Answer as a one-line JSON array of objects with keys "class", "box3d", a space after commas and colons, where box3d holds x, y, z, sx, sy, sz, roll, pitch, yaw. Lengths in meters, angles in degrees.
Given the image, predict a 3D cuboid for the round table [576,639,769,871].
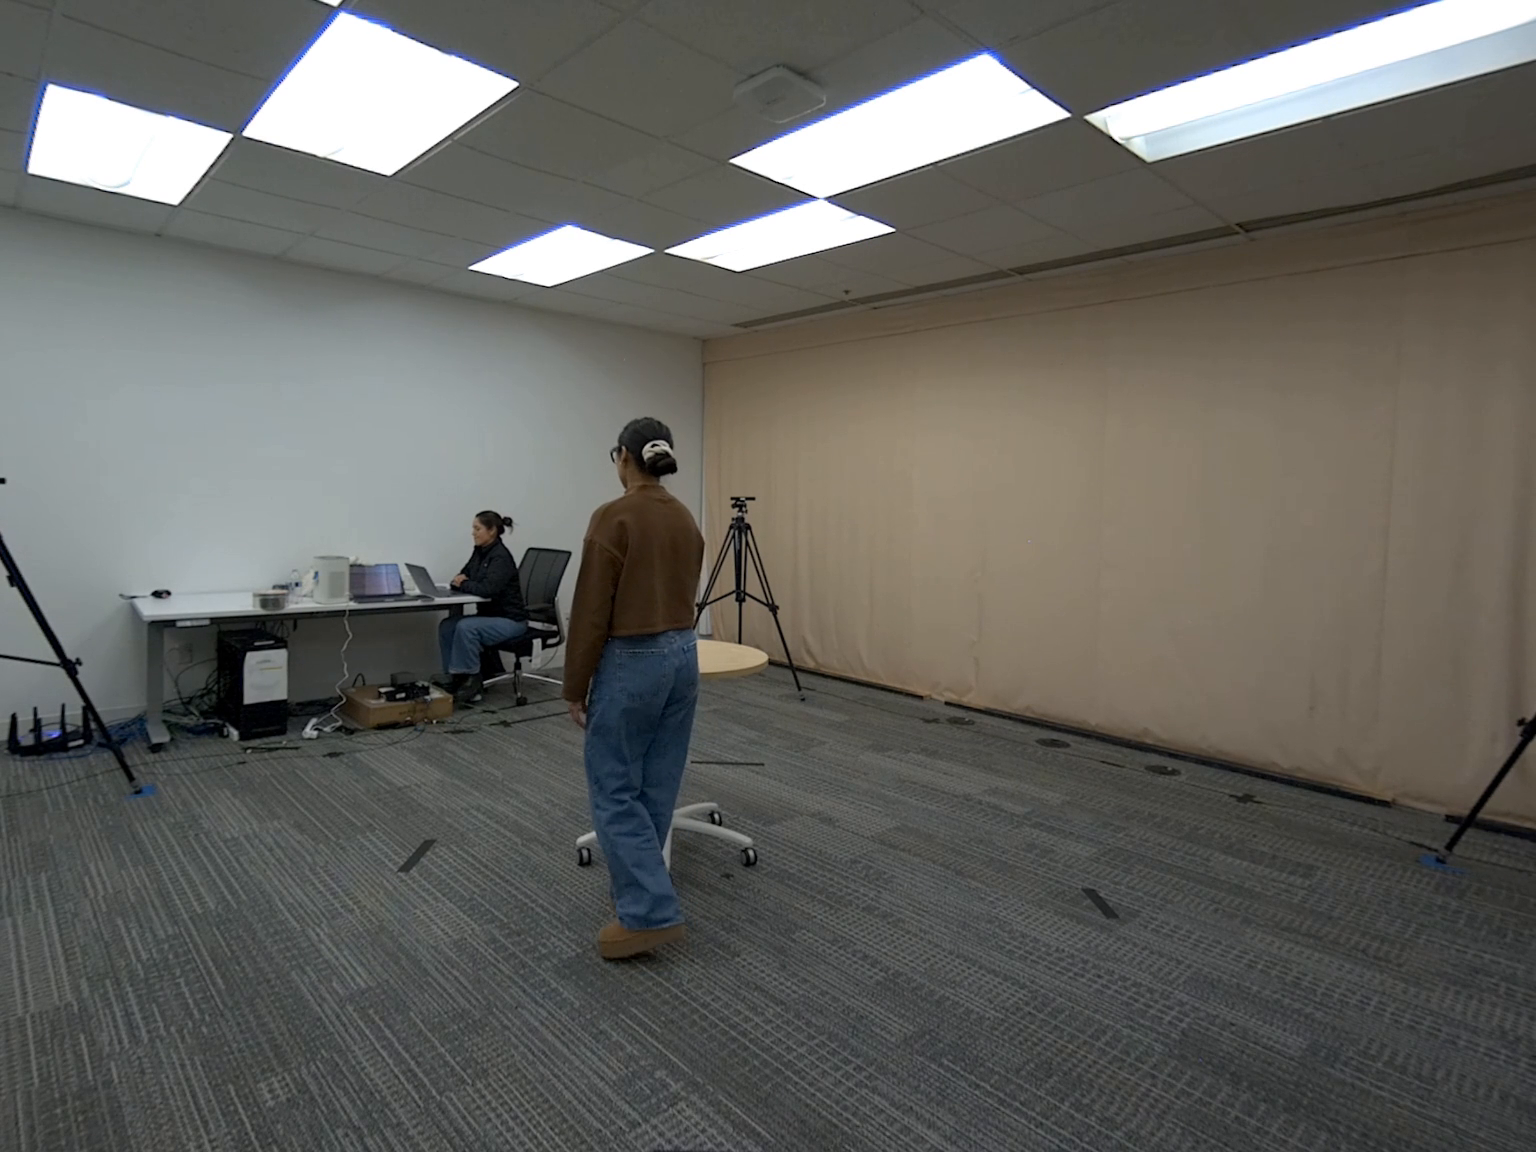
[{"class": "round table", "box3d": [-0.401, 0.699, 3.291, 0.763, 0.792, 0.766, 1, 4, -1]}]
